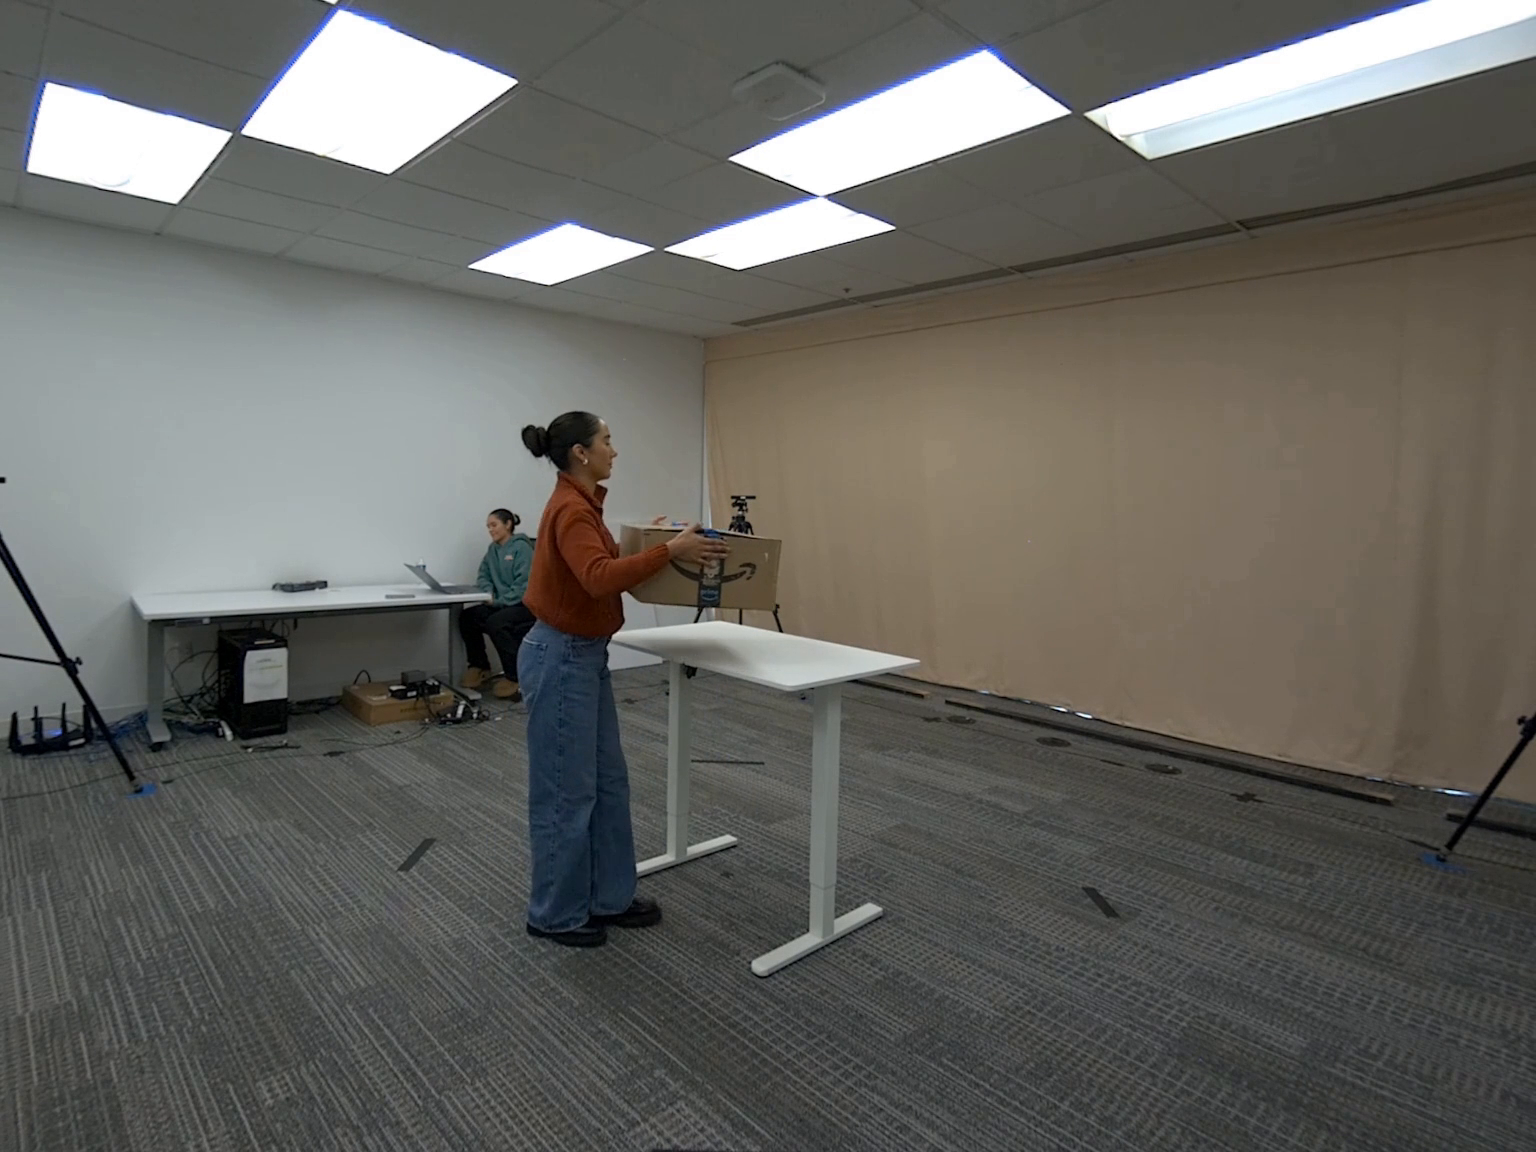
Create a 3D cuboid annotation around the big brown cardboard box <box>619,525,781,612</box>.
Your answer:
[{"bbox_3d":[-0.259,-0.040,2.738,0.412,0.233,0.597,3,3,-15],"label":"big brown cardboard box"}]
